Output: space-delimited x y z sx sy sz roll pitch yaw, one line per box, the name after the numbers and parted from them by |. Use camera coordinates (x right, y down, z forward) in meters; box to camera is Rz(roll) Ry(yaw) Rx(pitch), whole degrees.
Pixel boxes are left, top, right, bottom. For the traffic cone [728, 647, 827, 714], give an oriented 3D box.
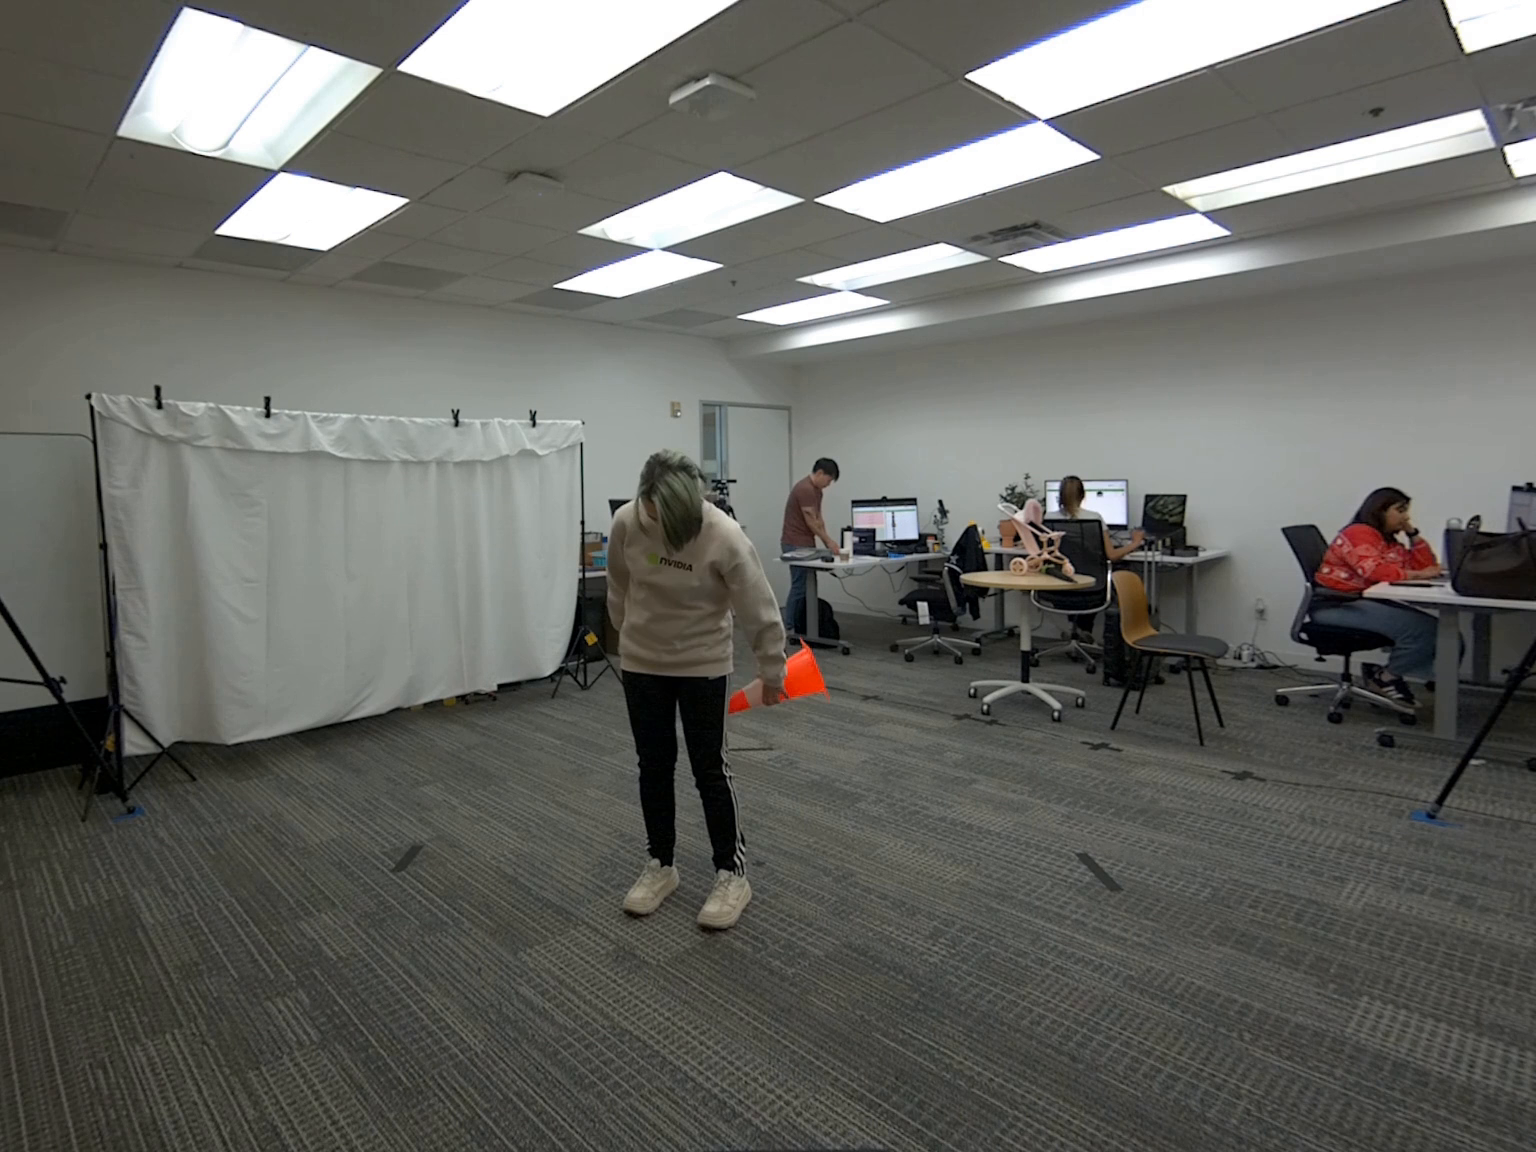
-0.011 0.392 2.906 0.383 0.204 0.204 -23 5 -1 | traffic cone
